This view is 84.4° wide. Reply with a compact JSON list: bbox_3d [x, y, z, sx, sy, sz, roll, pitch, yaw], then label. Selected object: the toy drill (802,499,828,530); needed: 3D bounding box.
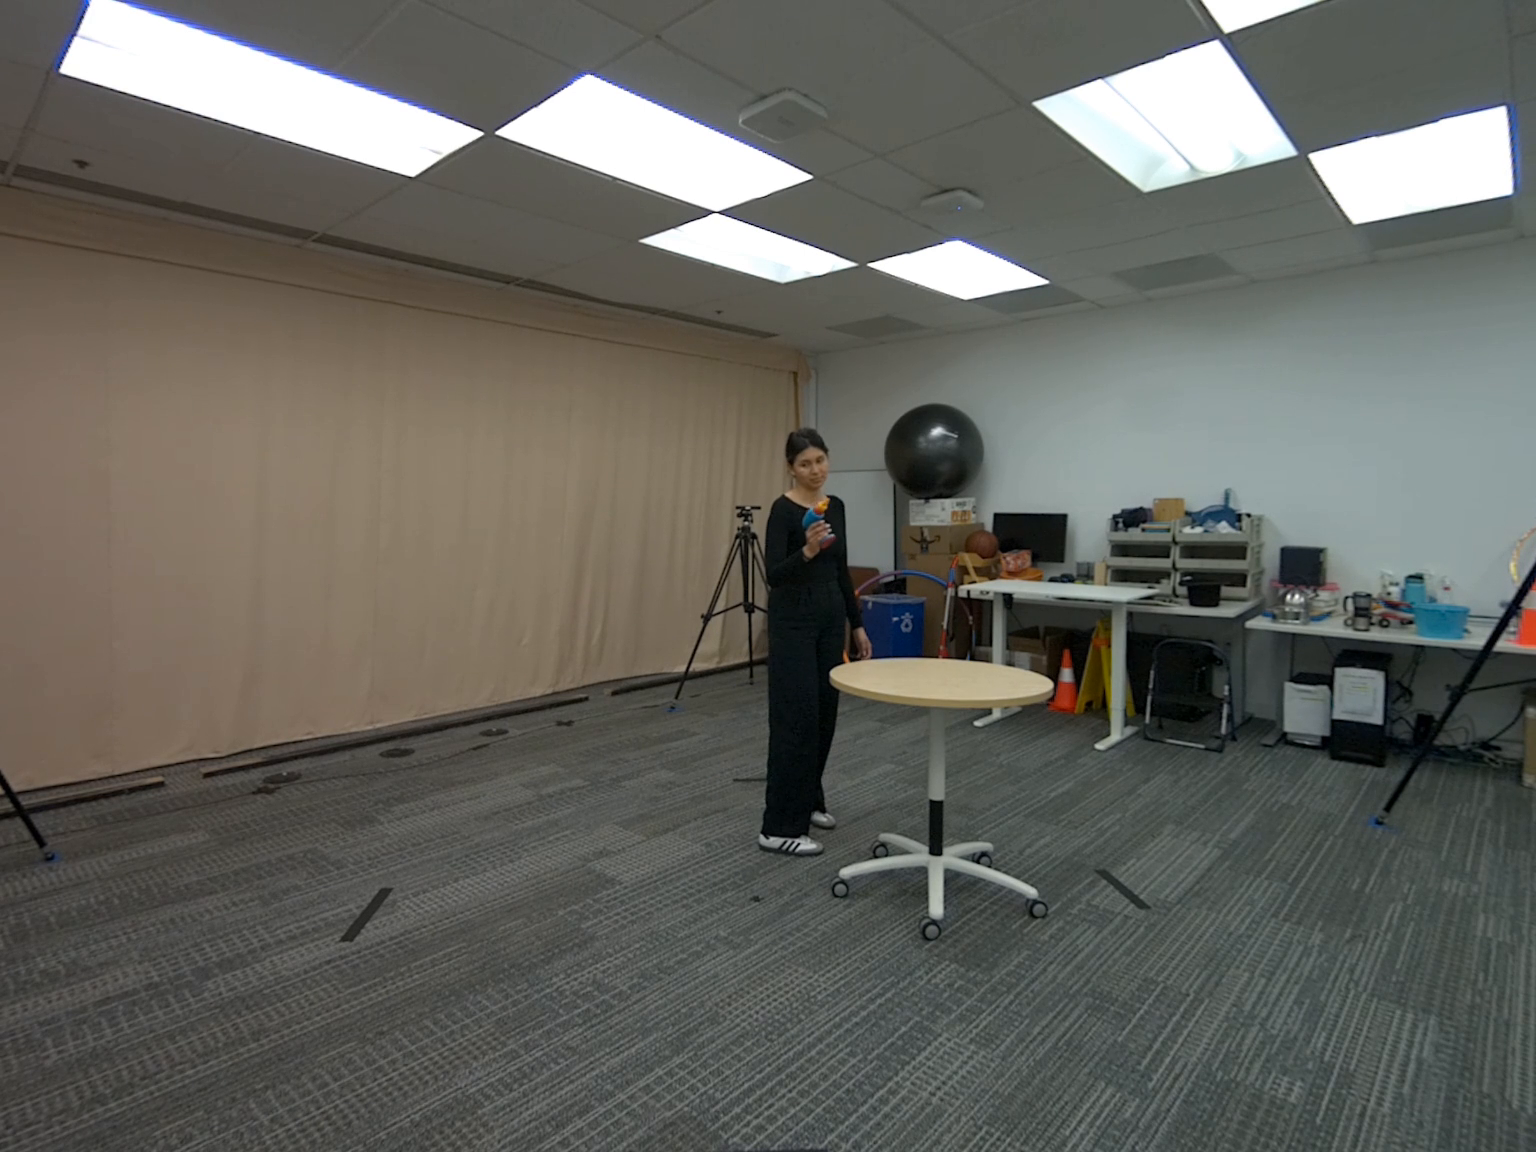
[{"bbox_3d":[0.197,-0.197,3.139,0.059,0.149,0.171,-11,-29,-45],"label":"toy drill"}]
